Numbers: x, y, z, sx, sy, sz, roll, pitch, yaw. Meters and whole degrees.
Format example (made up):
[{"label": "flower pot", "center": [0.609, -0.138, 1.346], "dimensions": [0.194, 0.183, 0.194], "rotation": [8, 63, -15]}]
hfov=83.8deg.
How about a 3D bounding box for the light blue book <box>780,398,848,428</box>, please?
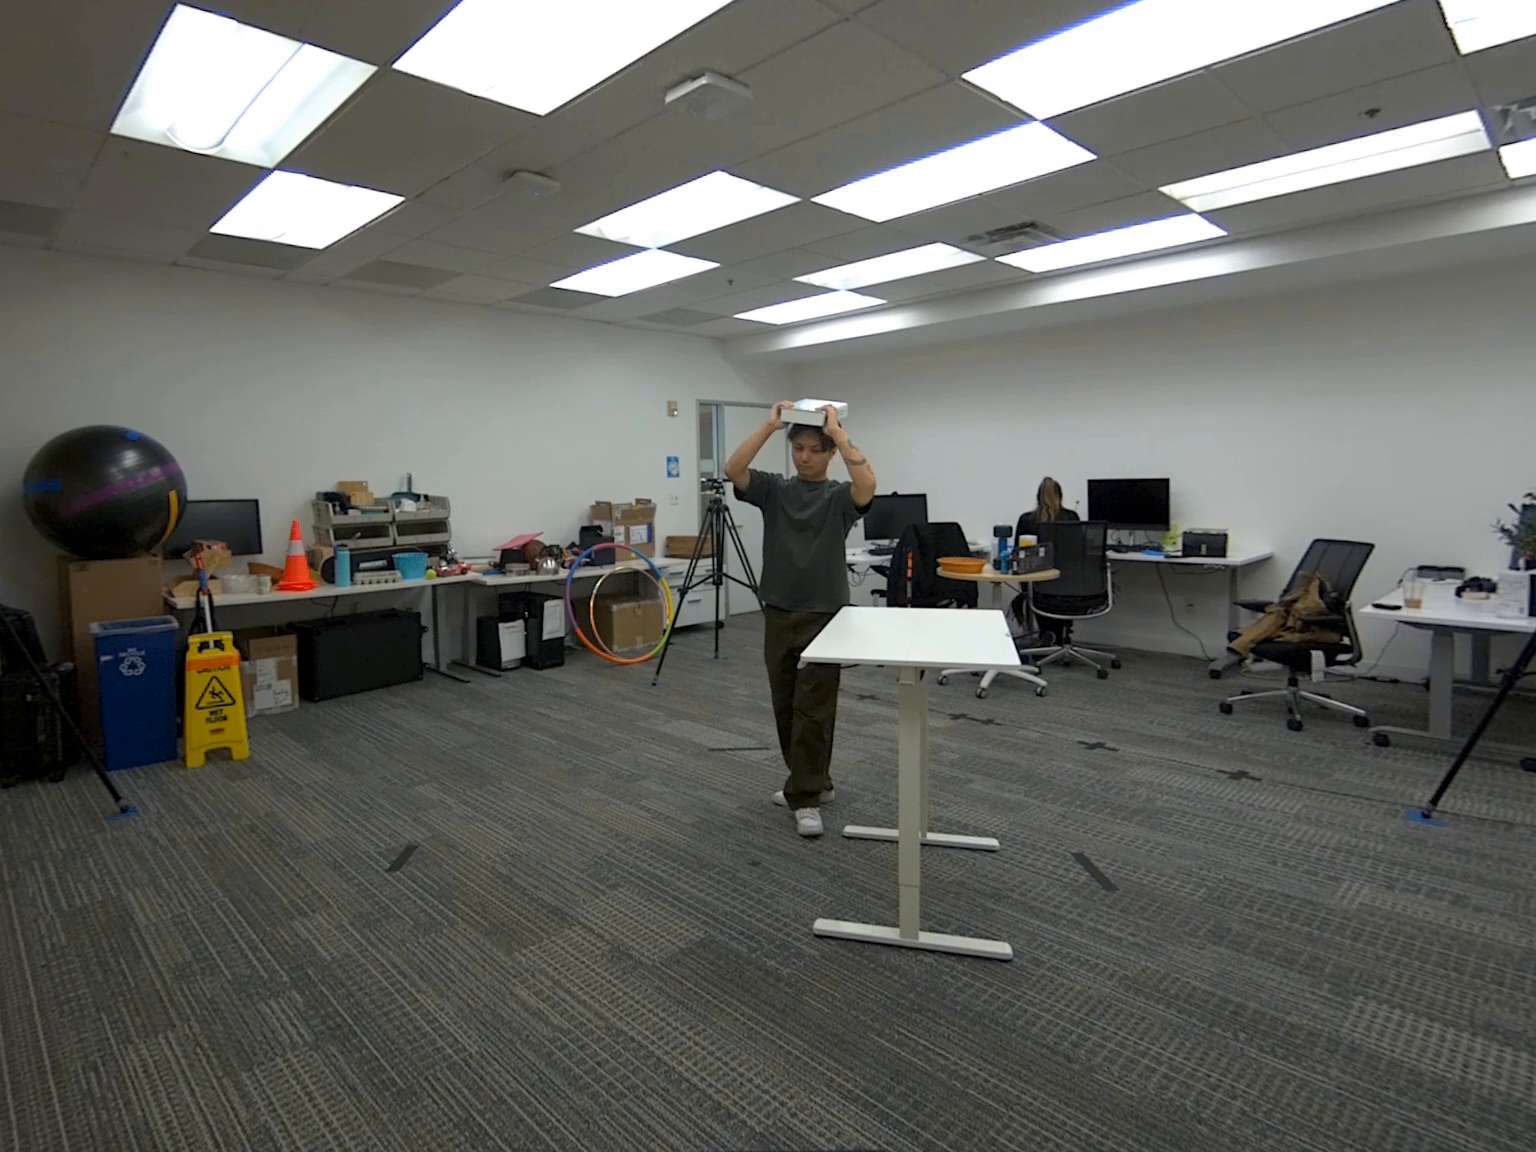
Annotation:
[{"label": "light blue book", "center": [0.187, -0.656, 3.423], "dimensions": [0.196, 0.058, 0.258], "rotation": [11, 22, 24]}]
